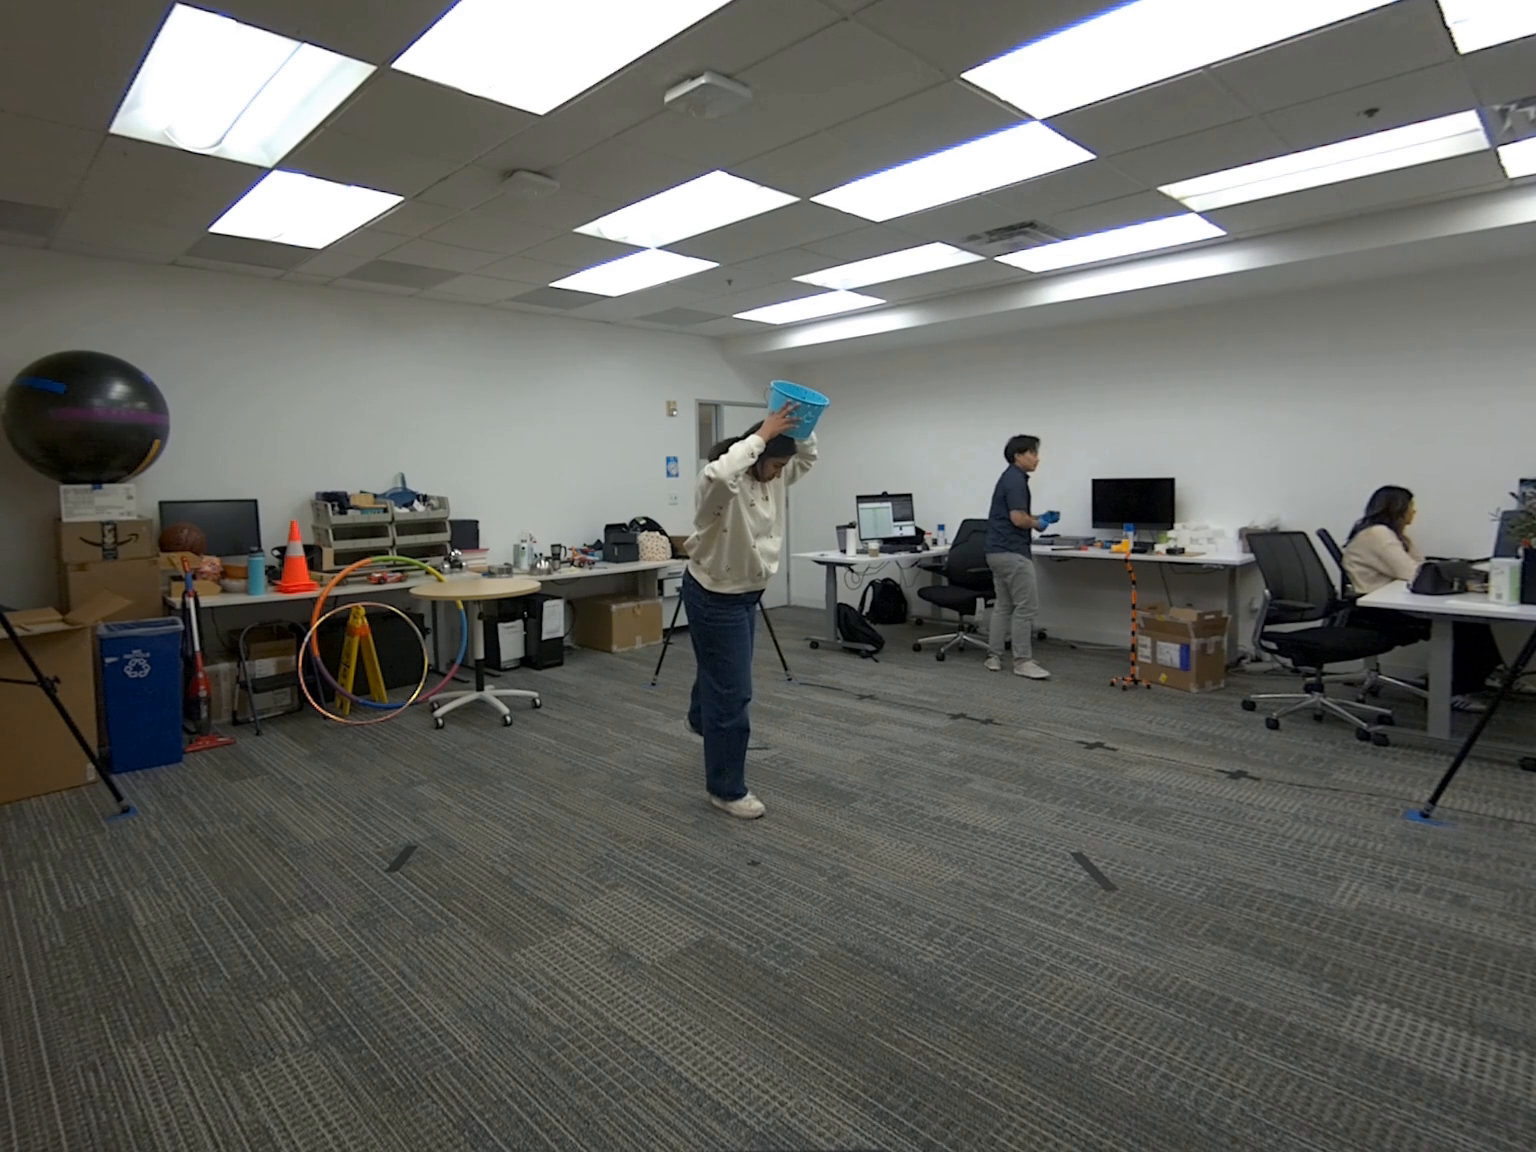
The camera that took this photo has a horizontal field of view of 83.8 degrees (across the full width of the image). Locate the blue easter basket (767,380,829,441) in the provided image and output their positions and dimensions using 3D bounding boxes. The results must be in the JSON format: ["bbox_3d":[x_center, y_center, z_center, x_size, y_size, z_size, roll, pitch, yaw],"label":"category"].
[{"bbox_3d":[0.109,-0.626,3.223,0.241,0.154,0.249,15,25,-9],"label":"blue easter basket"}]
